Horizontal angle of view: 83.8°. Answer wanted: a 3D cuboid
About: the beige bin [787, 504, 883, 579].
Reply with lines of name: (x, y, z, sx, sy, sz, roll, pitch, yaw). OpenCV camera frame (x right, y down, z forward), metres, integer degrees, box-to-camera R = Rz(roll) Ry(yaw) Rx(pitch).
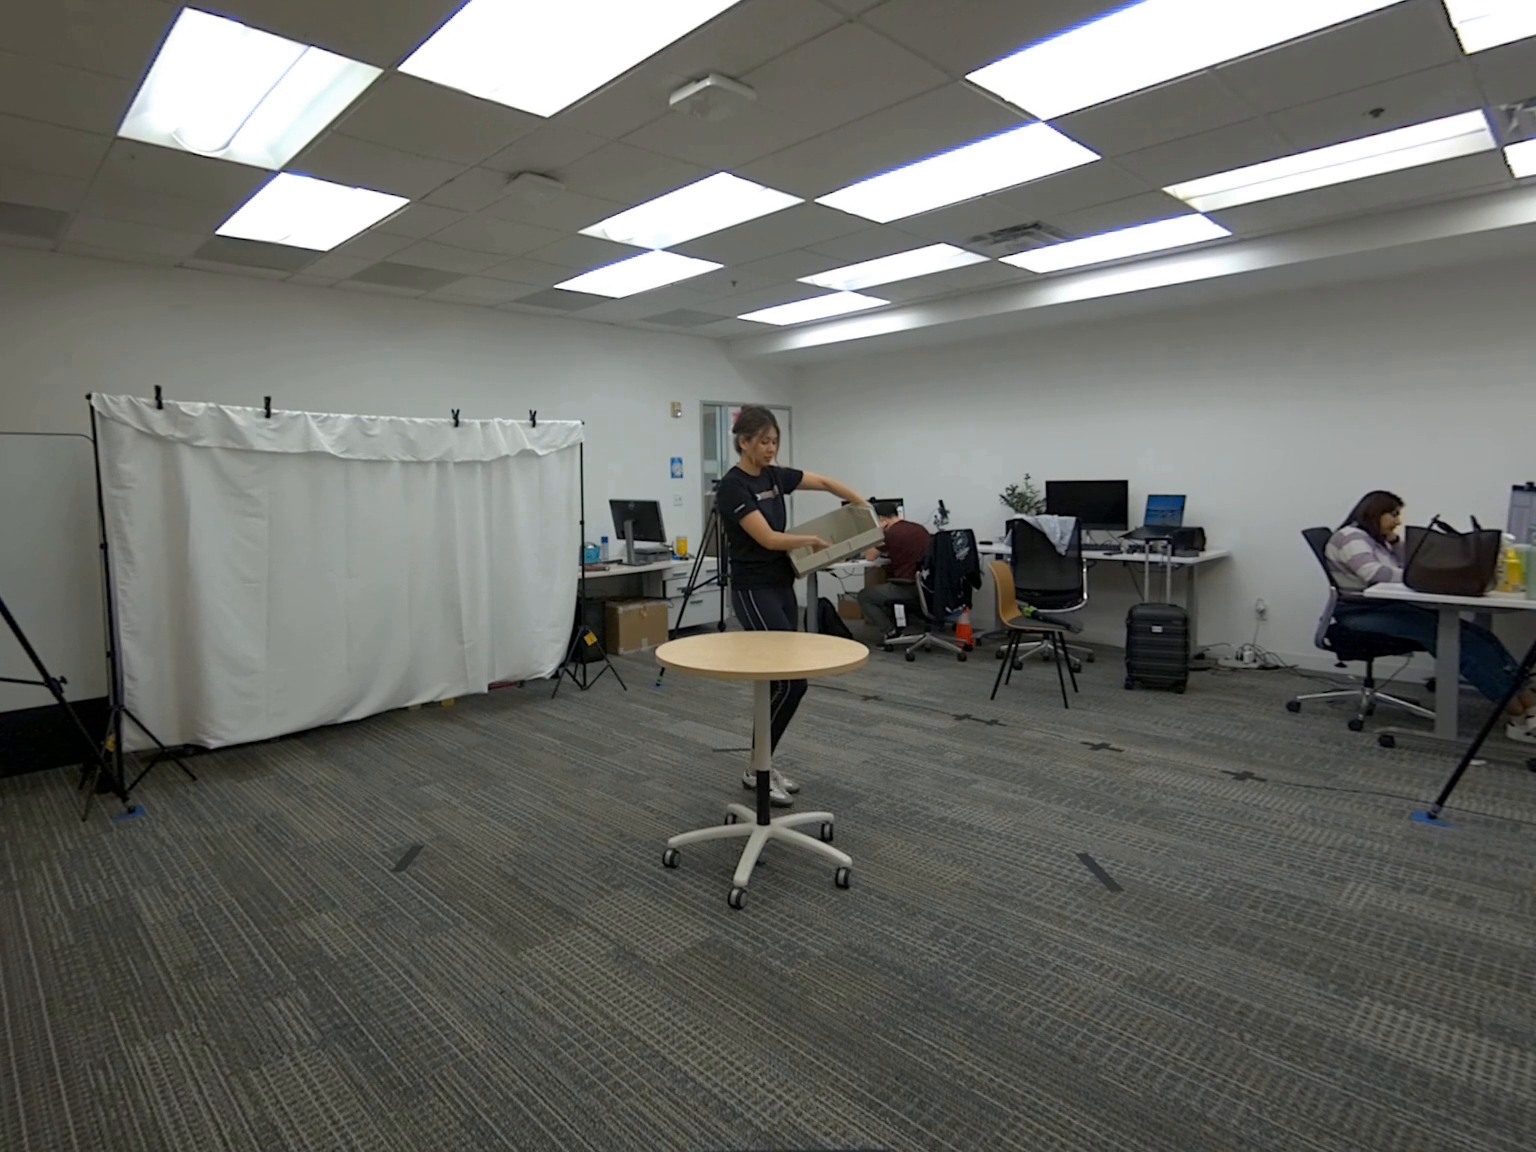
beige bin: (0.264, -0.154, 3.827, 0.421, 0.187, 0.382, -24, 9, -5)
